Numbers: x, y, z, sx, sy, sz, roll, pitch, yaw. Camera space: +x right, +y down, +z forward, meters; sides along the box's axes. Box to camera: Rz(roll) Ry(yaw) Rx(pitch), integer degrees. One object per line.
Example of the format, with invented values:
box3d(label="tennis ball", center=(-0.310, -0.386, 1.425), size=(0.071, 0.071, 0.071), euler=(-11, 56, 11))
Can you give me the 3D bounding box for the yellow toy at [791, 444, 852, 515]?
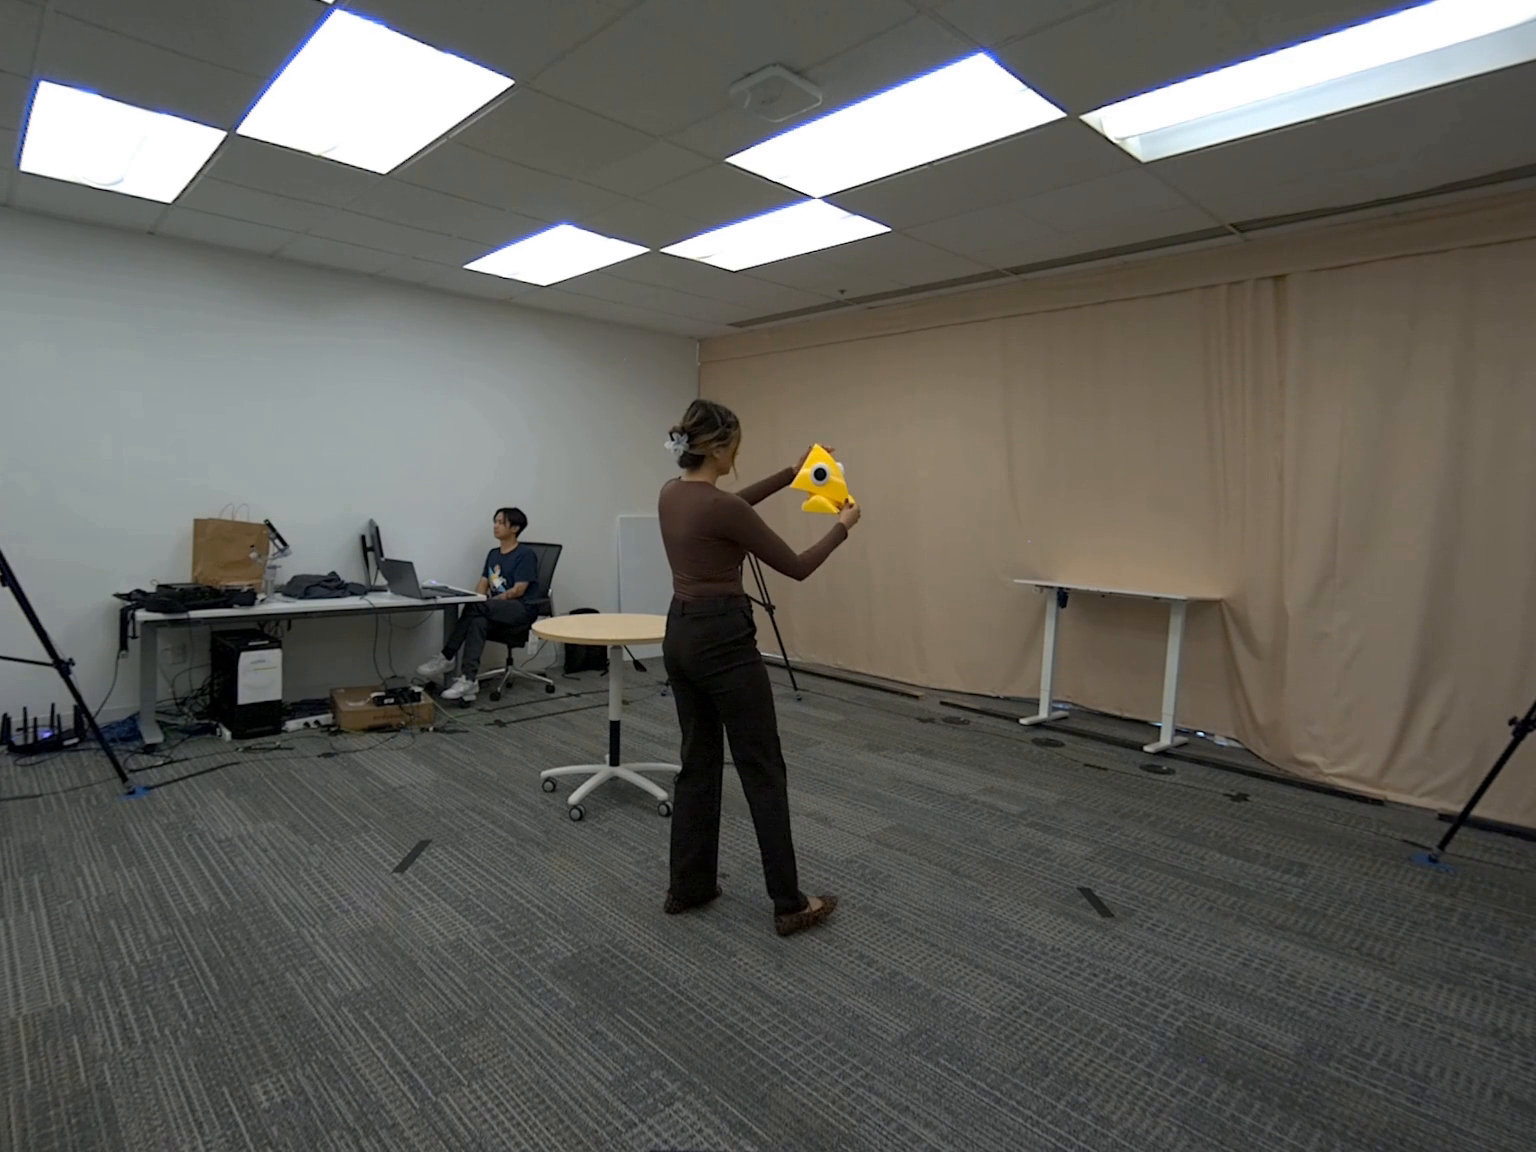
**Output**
box3d(label="yellow toy", center=(0.209, -0.353, 2.987), size=(0.198, 0.229, 0.201), euler=(10, 13, 40))
